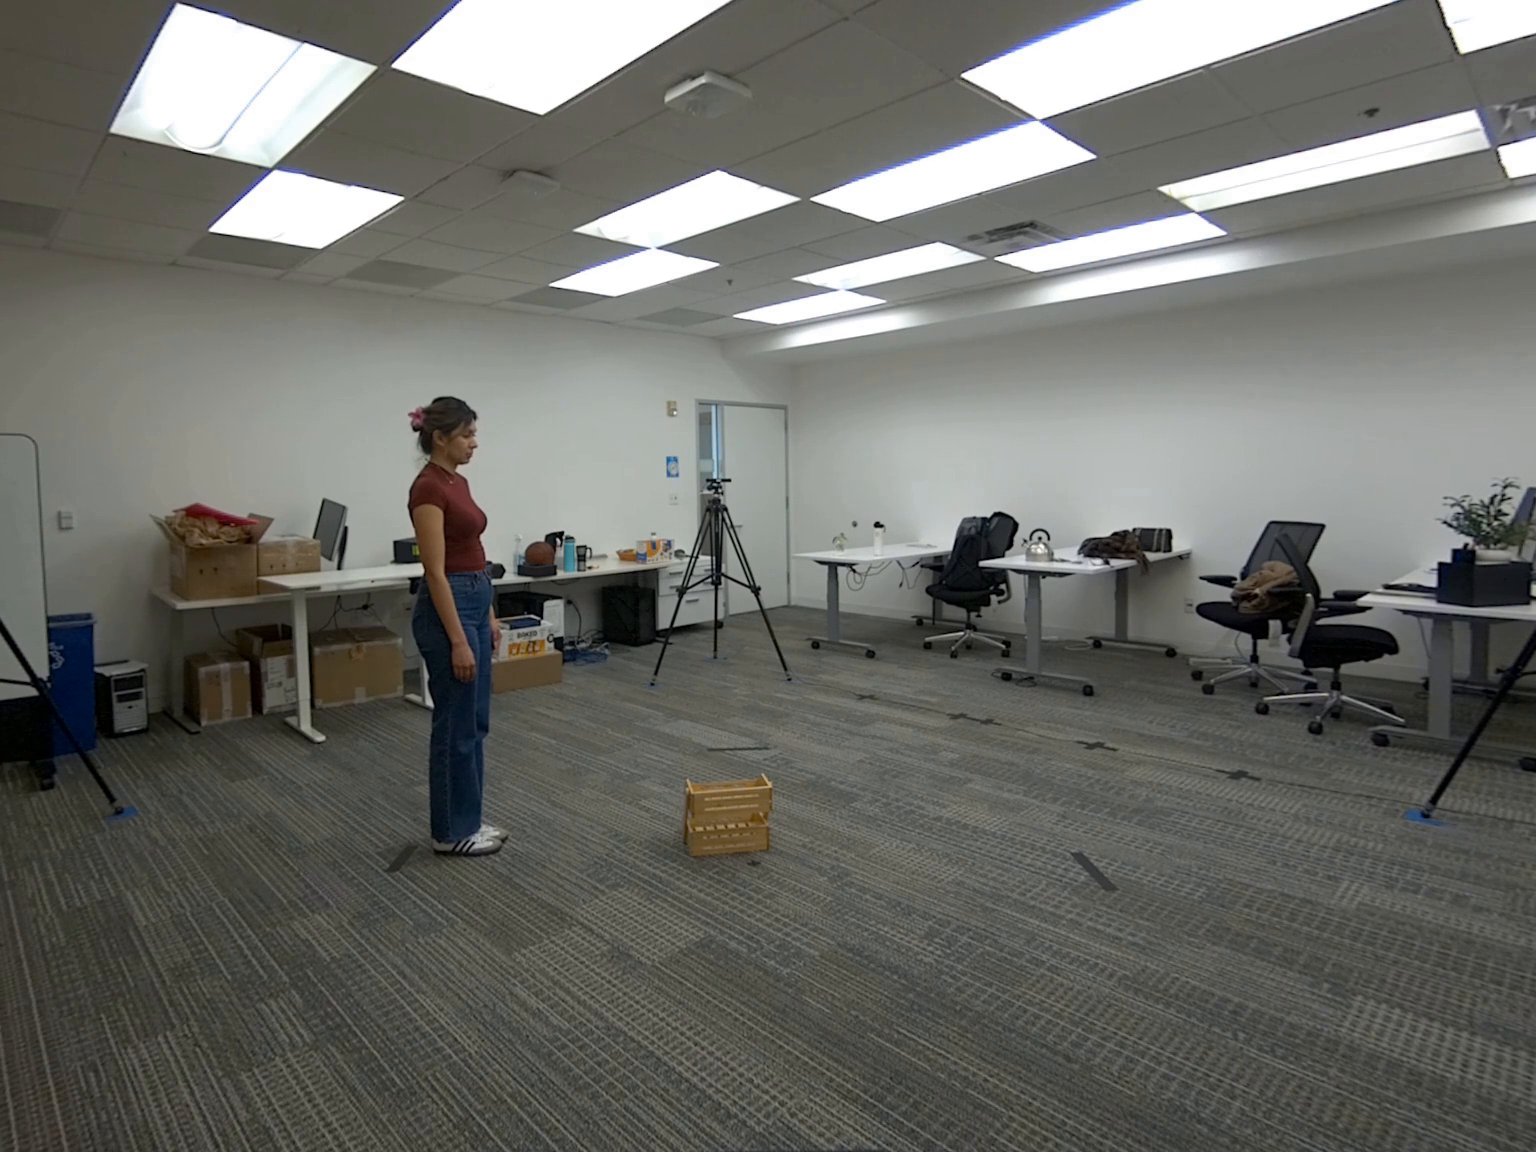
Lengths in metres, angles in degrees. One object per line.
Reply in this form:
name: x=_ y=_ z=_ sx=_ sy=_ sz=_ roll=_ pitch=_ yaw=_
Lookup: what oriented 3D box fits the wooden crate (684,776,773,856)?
wooden crate: x=-0.165 y=0.887 z=3.281 sx=0.321 sy=0.272 sz=0.307 roll=-2 pitch=5 yaw=-13
